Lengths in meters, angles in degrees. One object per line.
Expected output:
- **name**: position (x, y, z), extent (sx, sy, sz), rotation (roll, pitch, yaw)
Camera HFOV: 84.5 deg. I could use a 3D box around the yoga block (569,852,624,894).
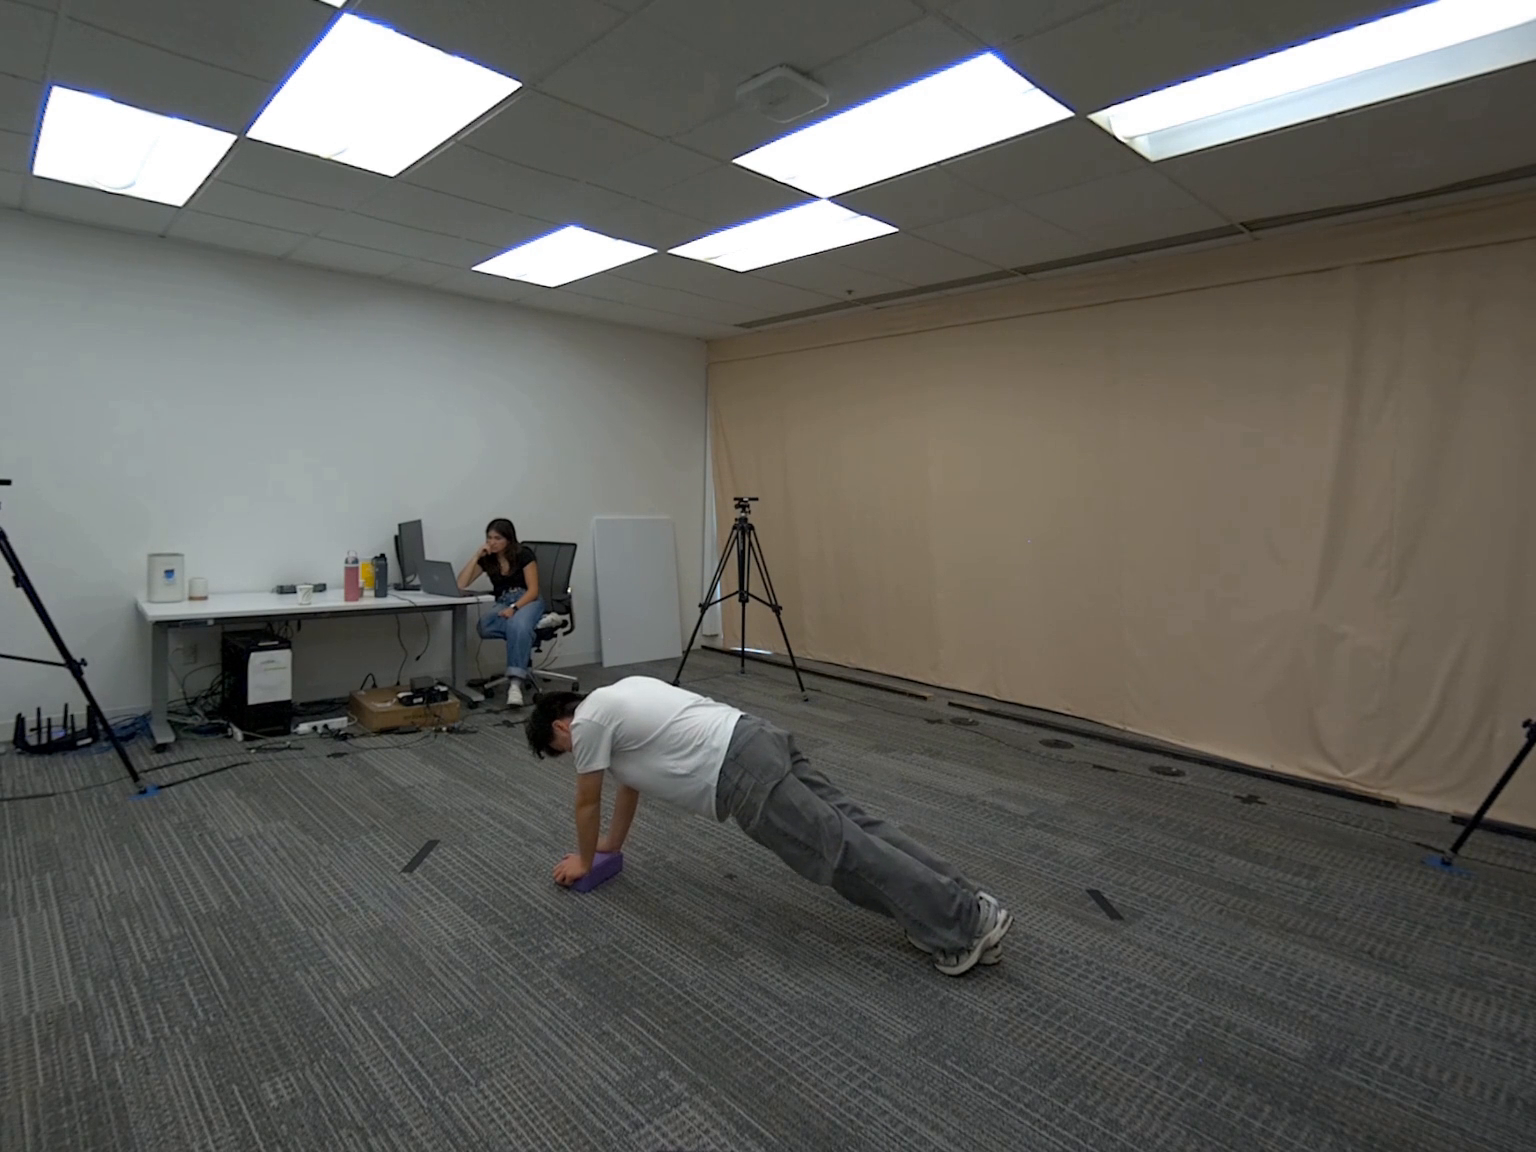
- **yoga block**: position (-0.663, 1.070, 3.068), extent (0.152, 0.076, 0.225), rotation (2, 6, 27)
